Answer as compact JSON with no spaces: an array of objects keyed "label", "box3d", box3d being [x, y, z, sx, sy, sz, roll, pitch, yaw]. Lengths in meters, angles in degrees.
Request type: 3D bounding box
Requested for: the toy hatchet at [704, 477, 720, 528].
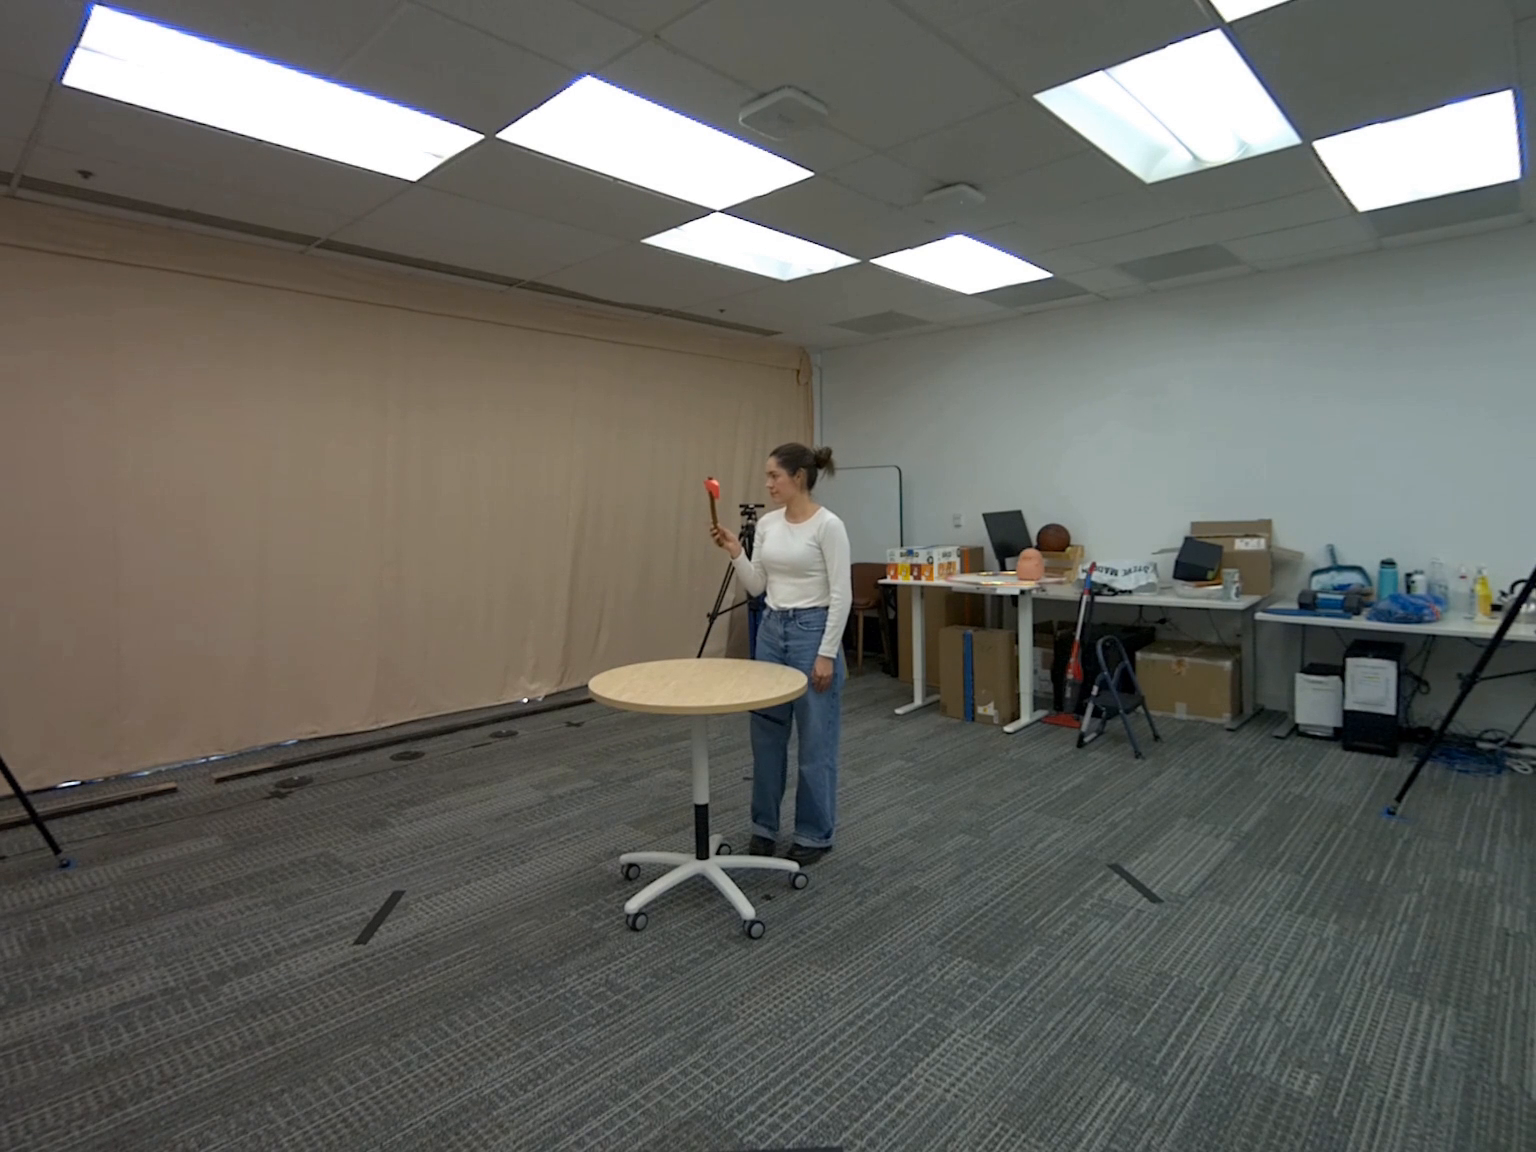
[{"label":"toy hatchet","box3d":[-0.193,-0.255,3.255,0.029,0.271,0.134,-14,-2,-29]}]
